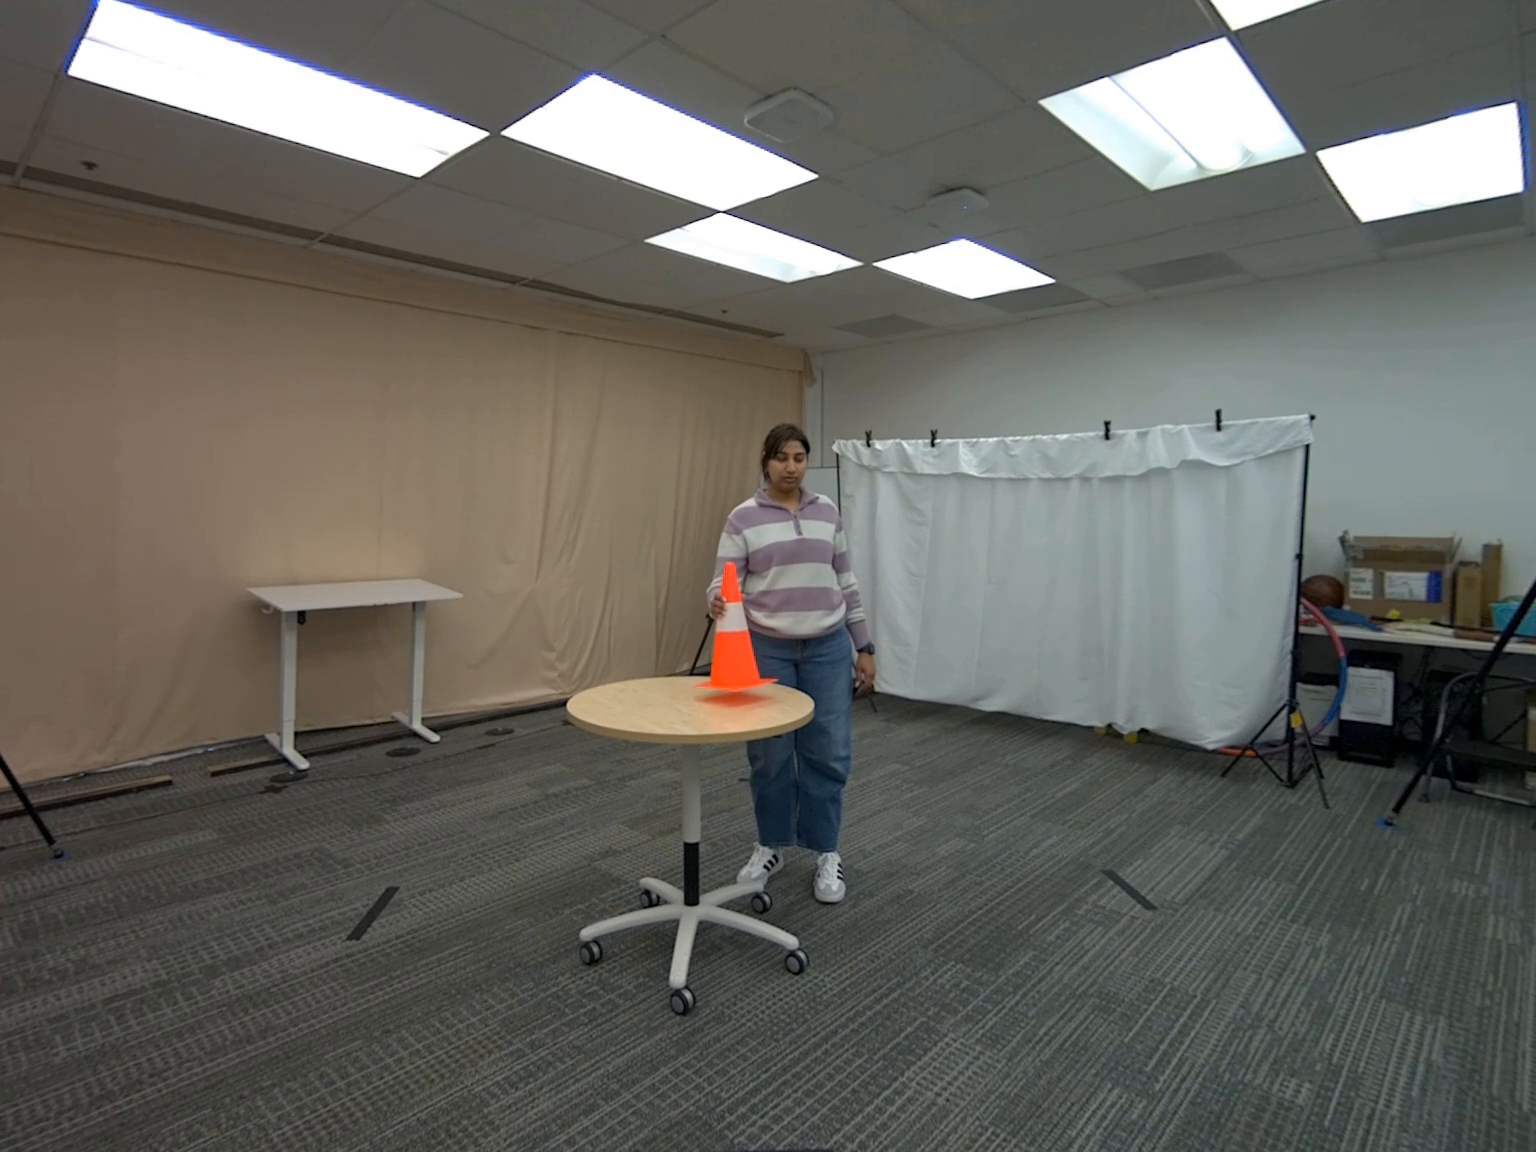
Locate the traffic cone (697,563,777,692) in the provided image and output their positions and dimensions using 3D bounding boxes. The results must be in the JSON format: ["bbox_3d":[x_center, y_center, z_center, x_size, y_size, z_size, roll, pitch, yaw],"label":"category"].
[{"bbox_3d":[-0.111,0.153,2.653,0.210,0.383,0.198,-1,1,43],"label":"traffic cone"}]
